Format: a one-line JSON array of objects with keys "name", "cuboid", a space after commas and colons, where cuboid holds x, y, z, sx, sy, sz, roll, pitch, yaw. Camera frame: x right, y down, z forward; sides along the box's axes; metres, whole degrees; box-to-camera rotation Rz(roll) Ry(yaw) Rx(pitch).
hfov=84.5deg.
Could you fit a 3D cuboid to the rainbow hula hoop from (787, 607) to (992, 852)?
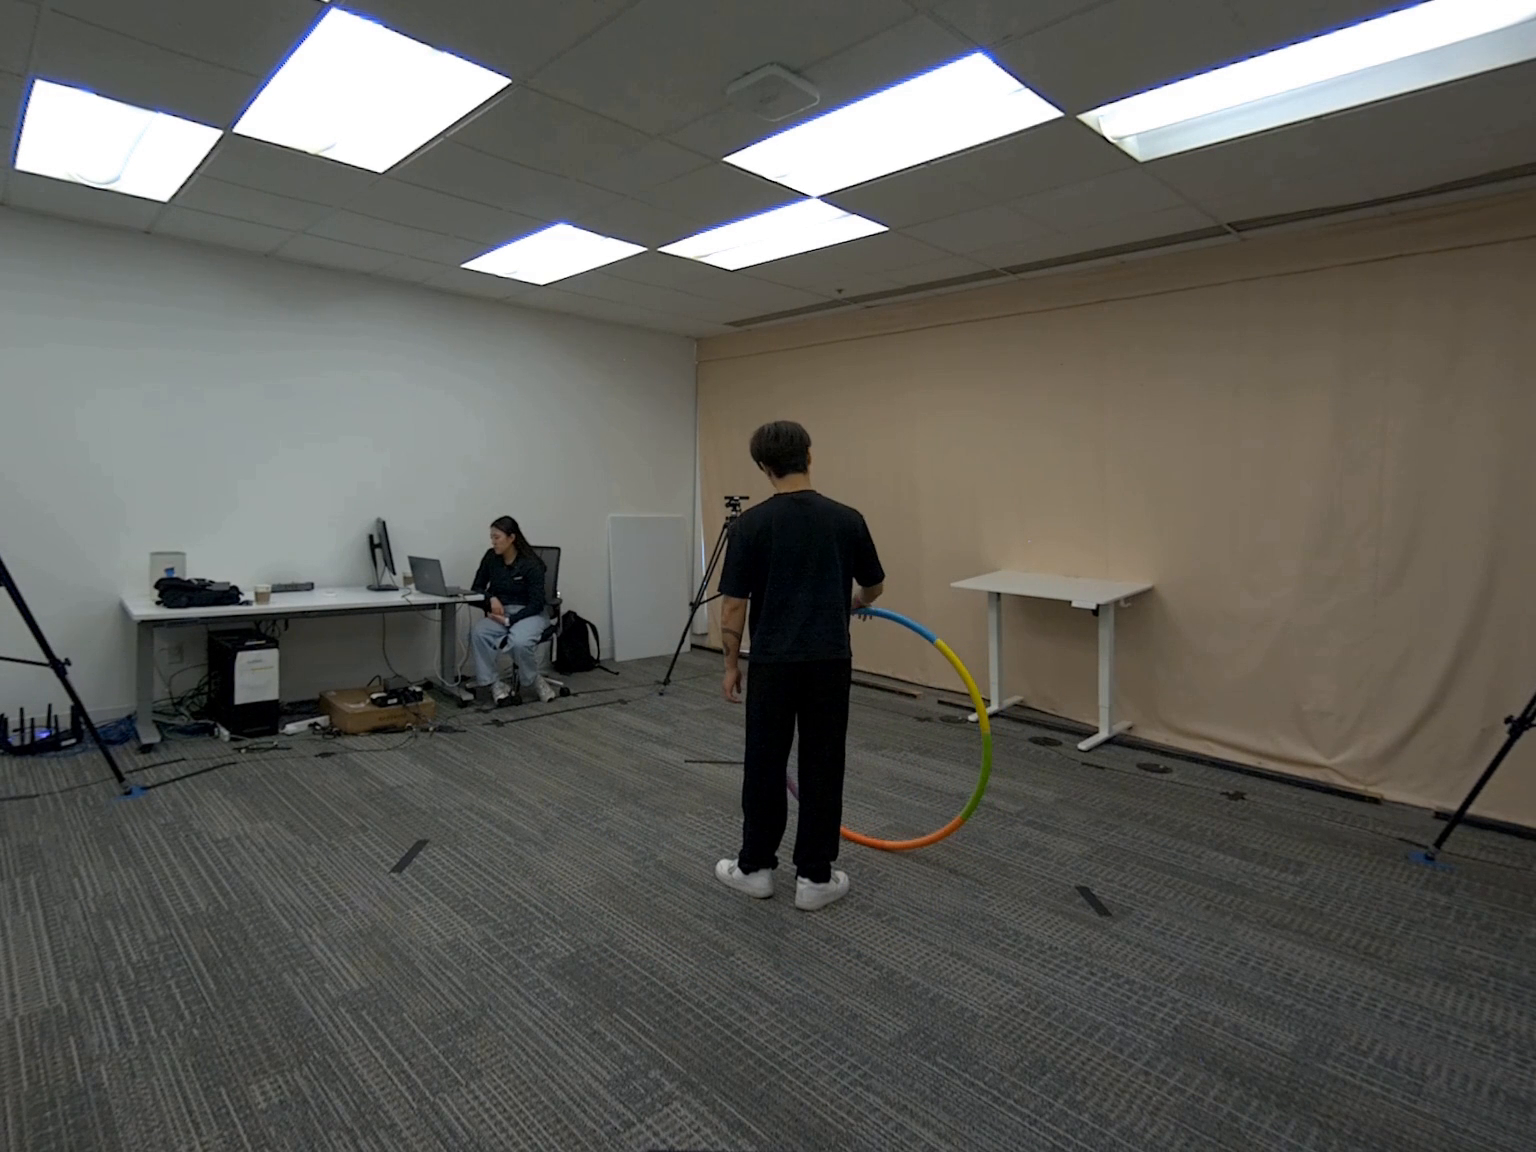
[{"name": "rainbow hula hoop", "cuboid": [0.392, 0.607, 3.341, 1.002, 0.973, 0.035, 4, 9, 35]}]
